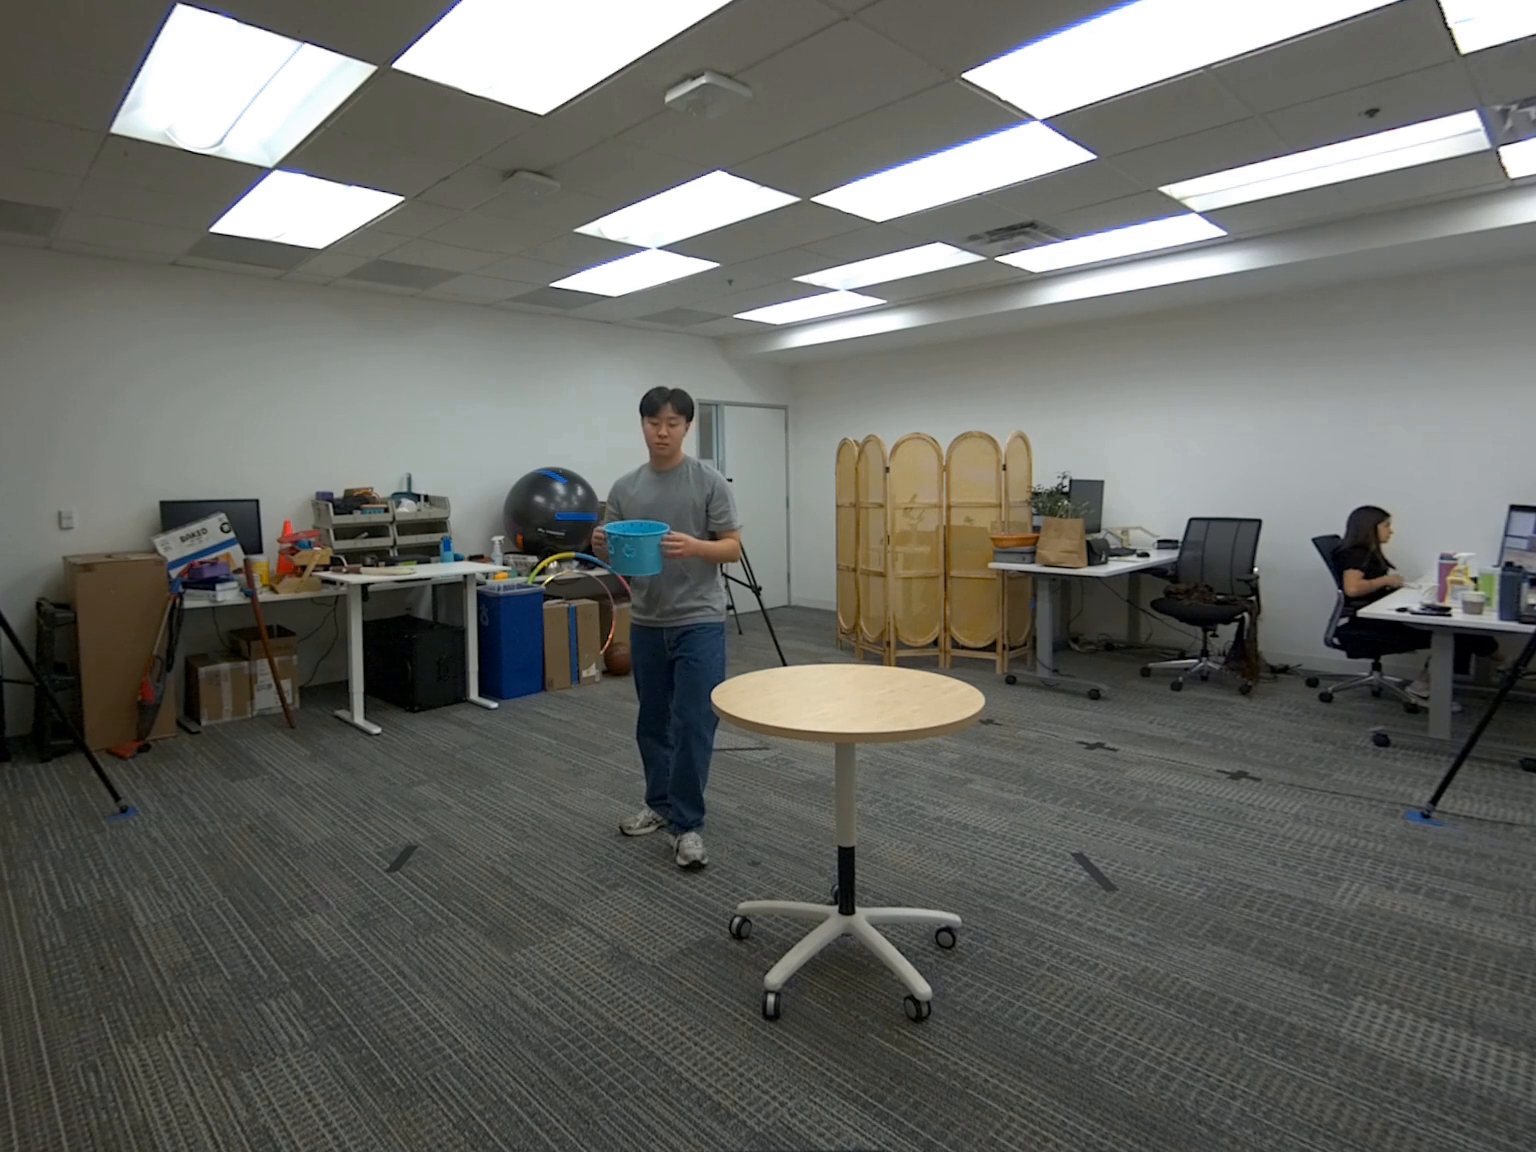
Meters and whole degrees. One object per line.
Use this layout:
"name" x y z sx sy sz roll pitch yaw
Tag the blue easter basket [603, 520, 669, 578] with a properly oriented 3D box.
"blue easter basket" -0.465 -0.094 3.005 0.243 0.154 0.247 1 14 -2
